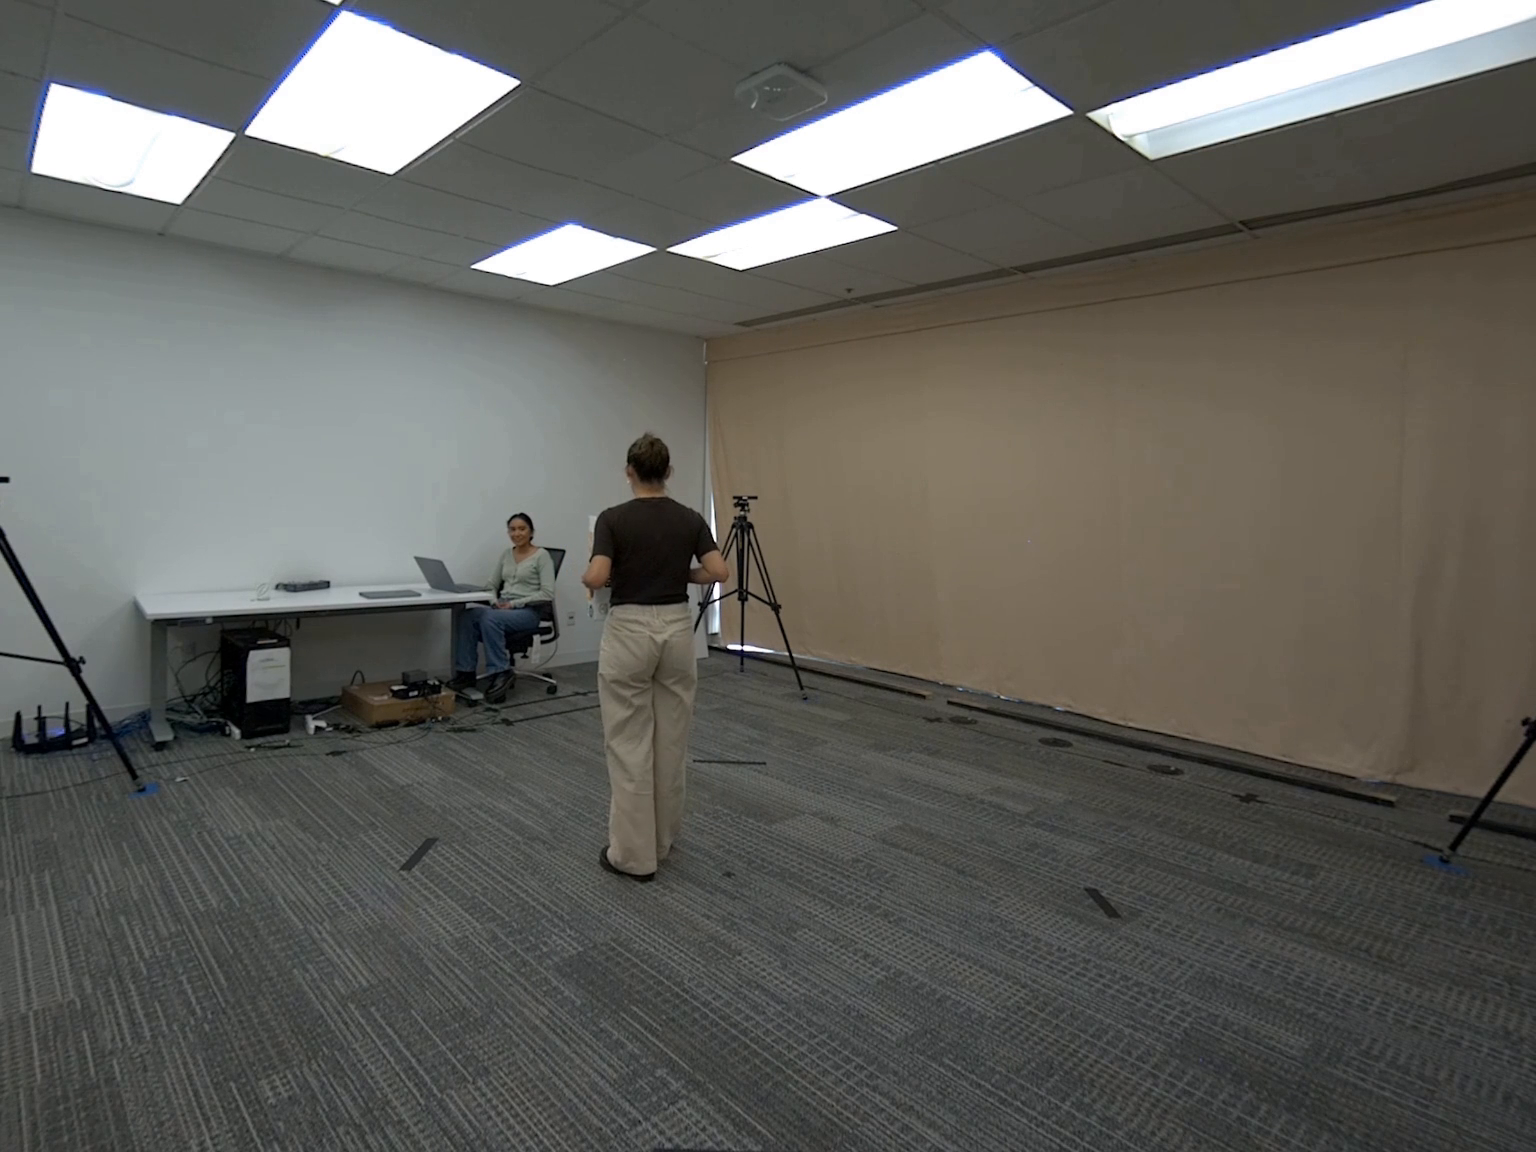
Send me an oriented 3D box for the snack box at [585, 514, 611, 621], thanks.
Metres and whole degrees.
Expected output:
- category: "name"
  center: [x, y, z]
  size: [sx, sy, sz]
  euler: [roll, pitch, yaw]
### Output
- category: "snack box"
  center: [-0.548, -0.033, 3.394]
  size: [0.335, 0.404, 0.209]
  euler: [1, 3, -19]
